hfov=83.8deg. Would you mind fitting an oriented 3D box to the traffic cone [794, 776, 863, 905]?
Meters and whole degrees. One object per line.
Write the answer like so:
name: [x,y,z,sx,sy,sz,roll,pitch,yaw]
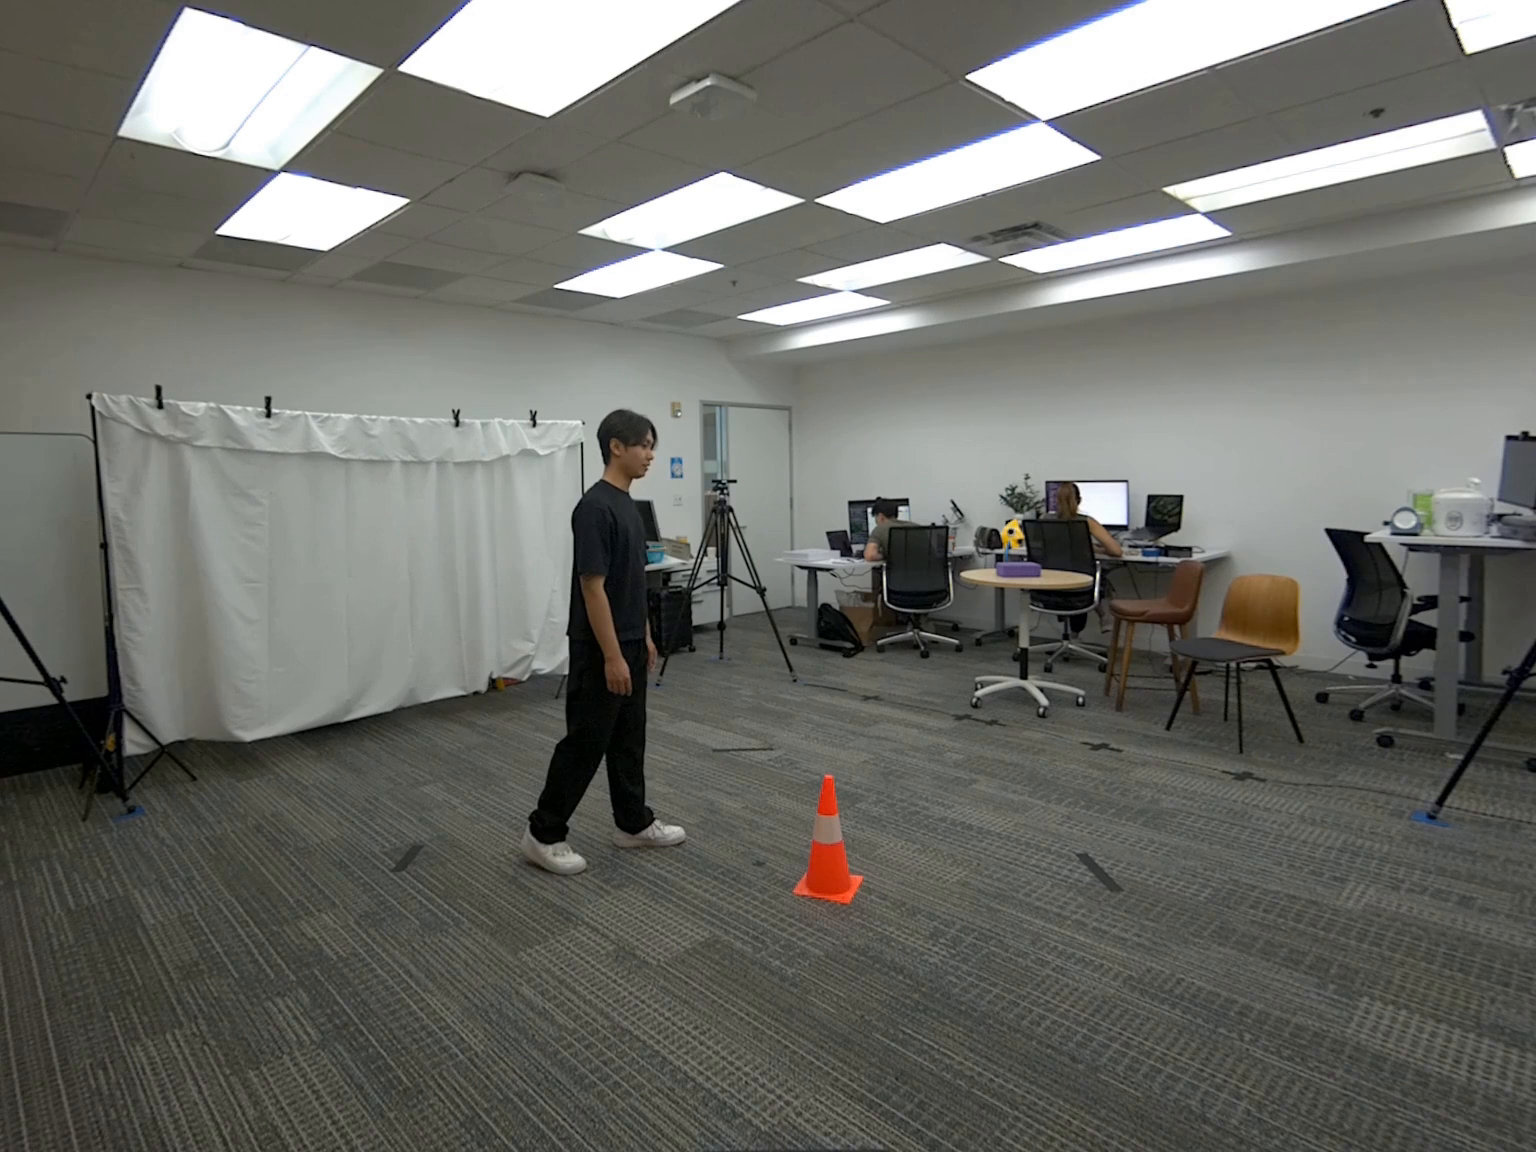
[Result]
traffic cone: [0.206,0.880,2.917,0.208,0.382,0.201,0,4,24]
